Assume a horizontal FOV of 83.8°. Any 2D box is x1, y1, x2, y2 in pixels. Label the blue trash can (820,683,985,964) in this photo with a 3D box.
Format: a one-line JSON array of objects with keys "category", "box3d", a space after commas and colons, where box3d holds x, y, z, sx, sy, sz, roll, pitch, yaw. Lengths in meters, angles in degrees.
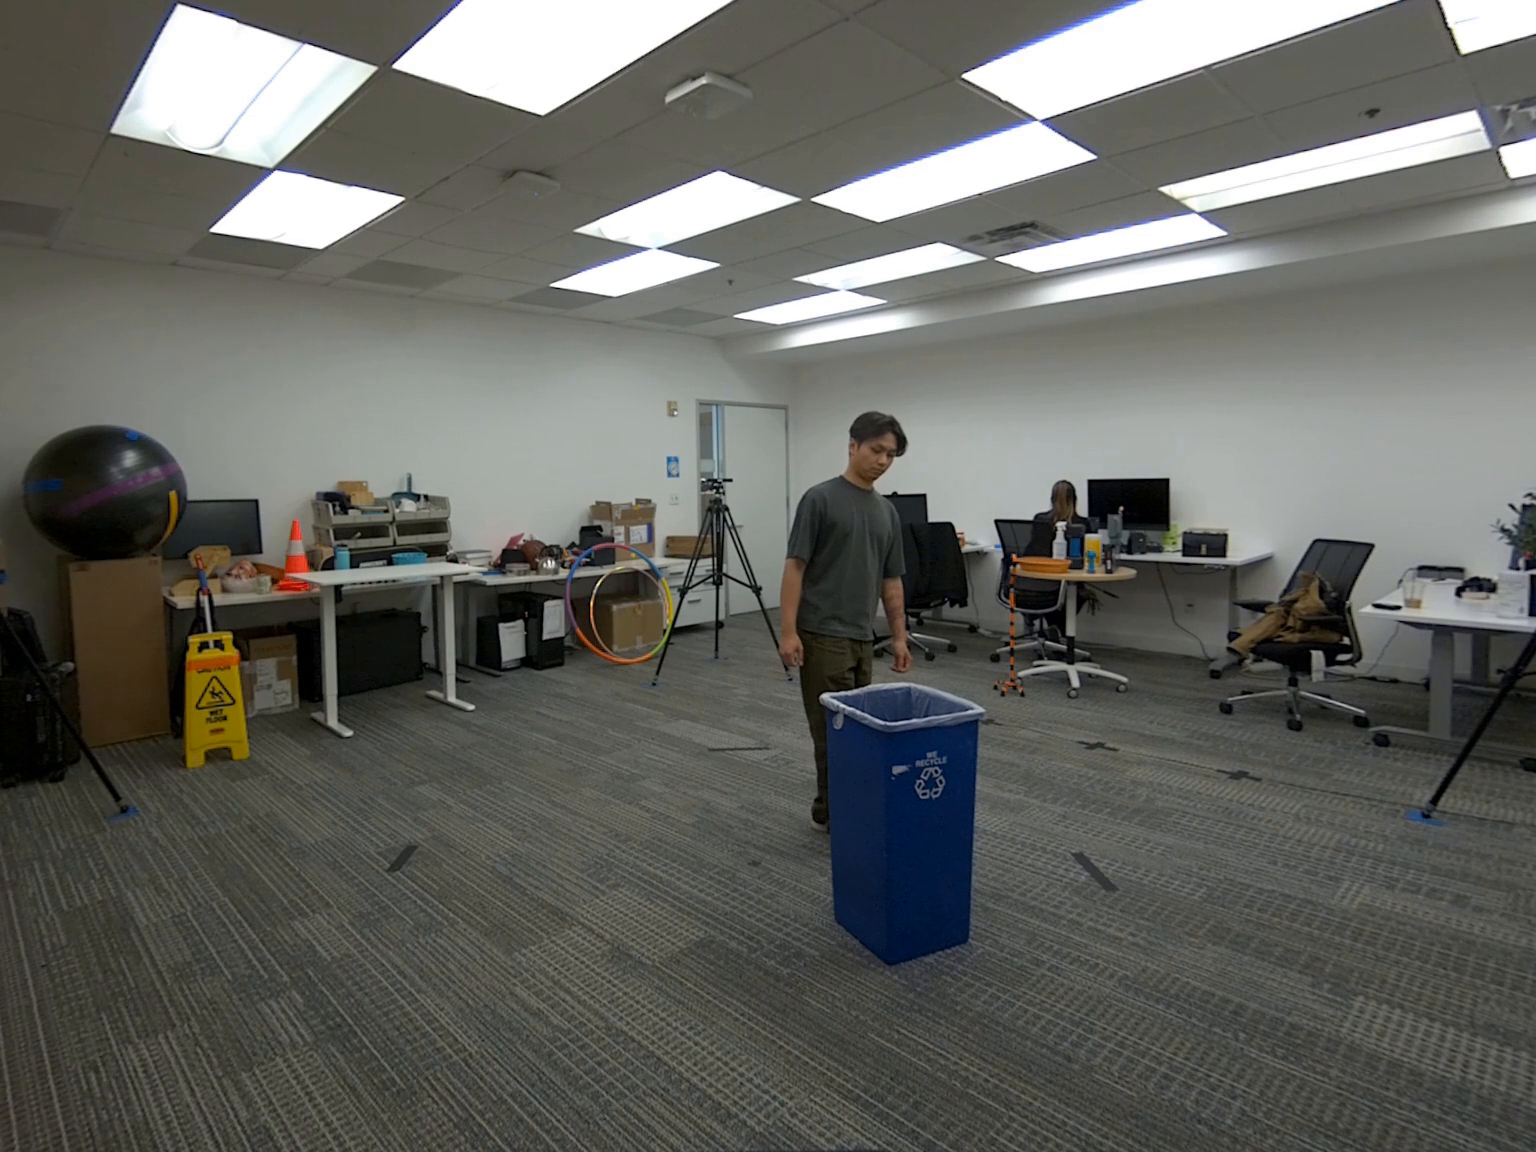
[{"category": "blue trash can", "box3d": [0.398, 0.737, 2.615, 0.369, 0.710, 0.384, -3, 6, -29]}]
